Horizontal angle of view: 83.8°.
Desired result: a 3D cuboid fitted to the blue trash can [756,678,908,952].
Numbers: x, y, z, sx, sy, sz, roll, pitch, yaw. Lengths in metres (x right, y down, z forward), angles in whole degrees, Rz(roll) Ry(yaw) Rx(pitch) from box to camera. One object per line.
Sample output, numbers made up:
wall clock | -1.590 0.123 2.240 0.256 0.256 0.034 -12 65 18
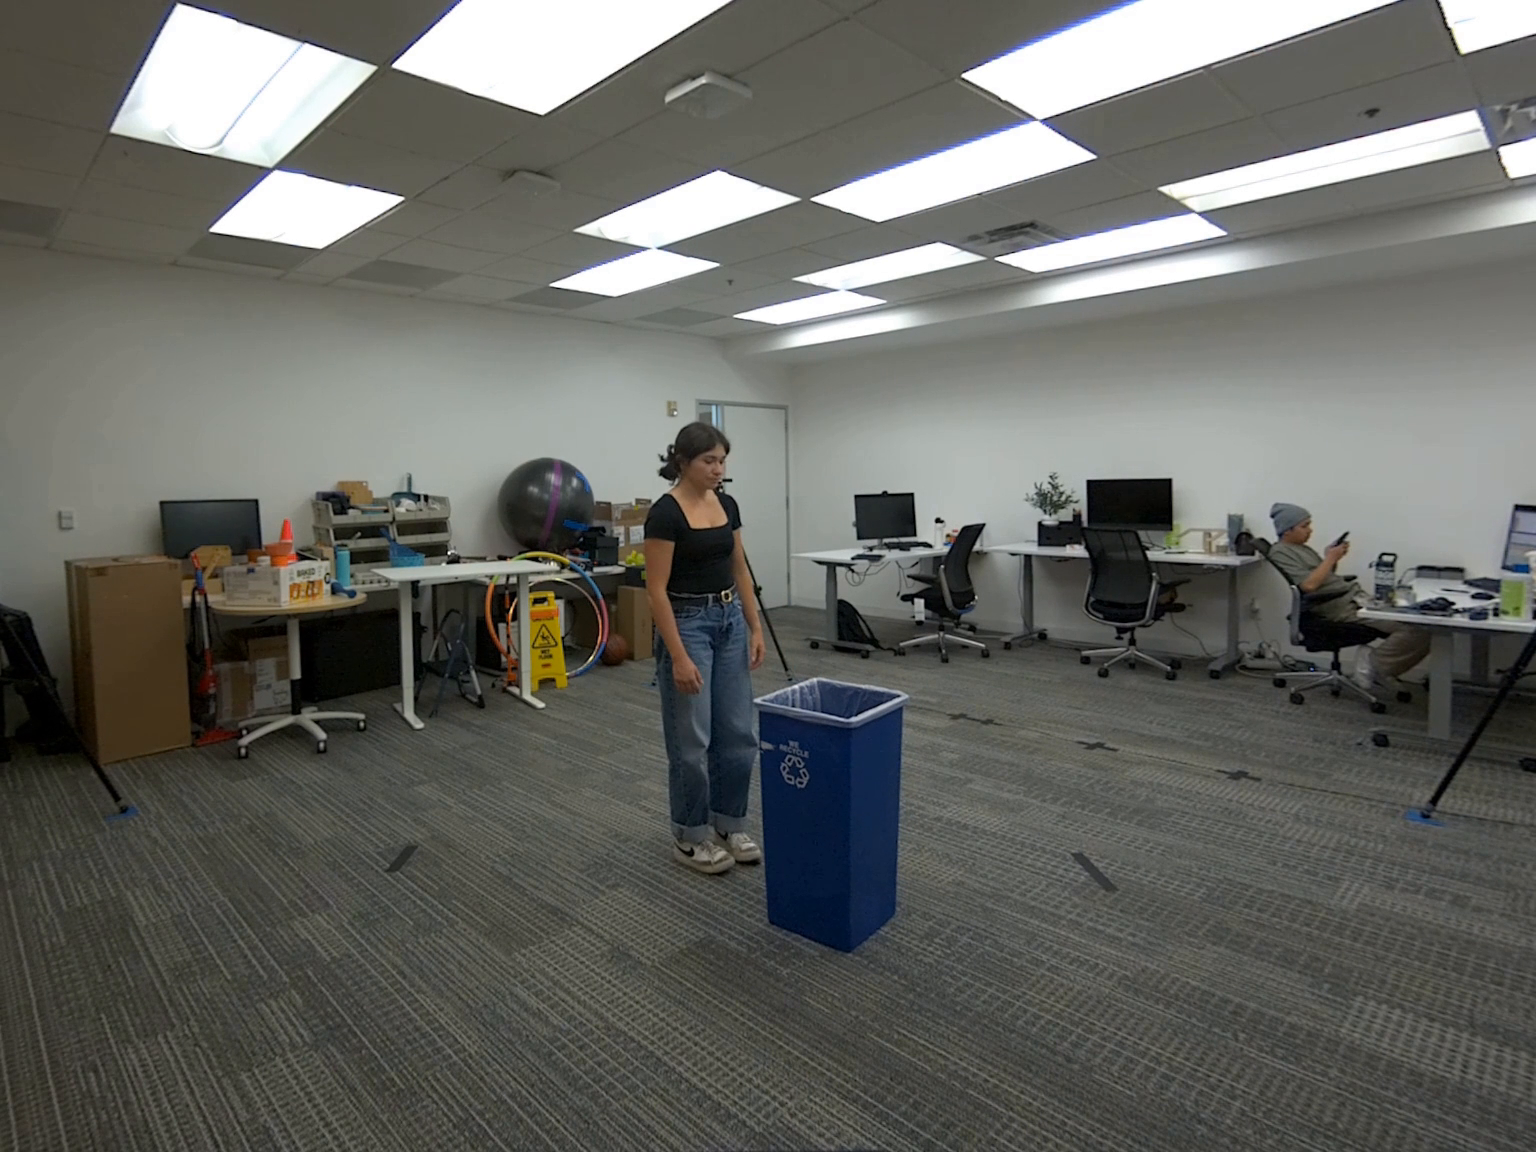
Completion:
blue trash can | 0.211 0.733 2.682 0.385 0.711 0.368 2 6 38
